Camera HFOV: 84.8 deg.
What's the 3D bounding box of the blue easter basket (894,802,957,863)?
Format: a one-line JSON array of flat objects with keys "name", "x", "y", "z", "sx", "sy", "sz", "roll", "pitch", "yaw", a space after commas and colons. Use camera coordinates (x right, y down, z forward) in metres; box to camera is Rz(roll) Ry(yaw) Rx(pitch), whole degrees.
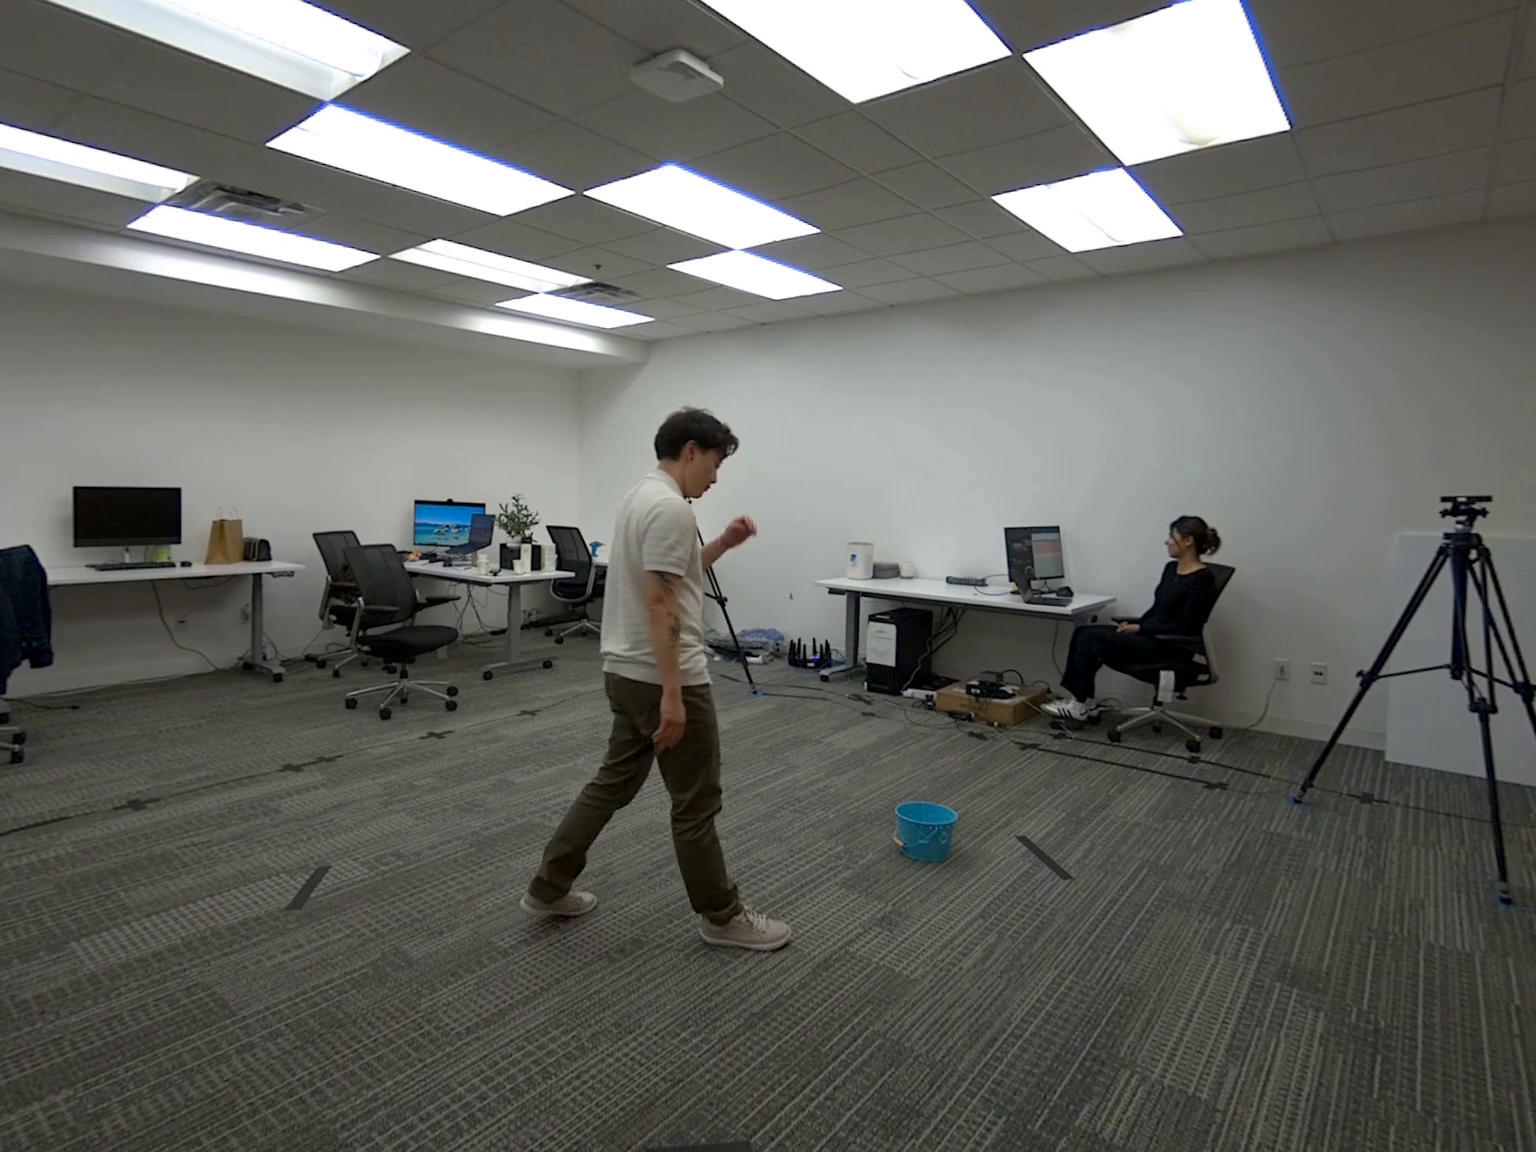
[{"name": "blue easter basket", "x": 0.599, "y": 0.989, "z": 3.306, "sx": 0.243, "sy": 0.155, "sz": 0.245, "roll": 1, "pitch": 5, "yaw": -2}]
